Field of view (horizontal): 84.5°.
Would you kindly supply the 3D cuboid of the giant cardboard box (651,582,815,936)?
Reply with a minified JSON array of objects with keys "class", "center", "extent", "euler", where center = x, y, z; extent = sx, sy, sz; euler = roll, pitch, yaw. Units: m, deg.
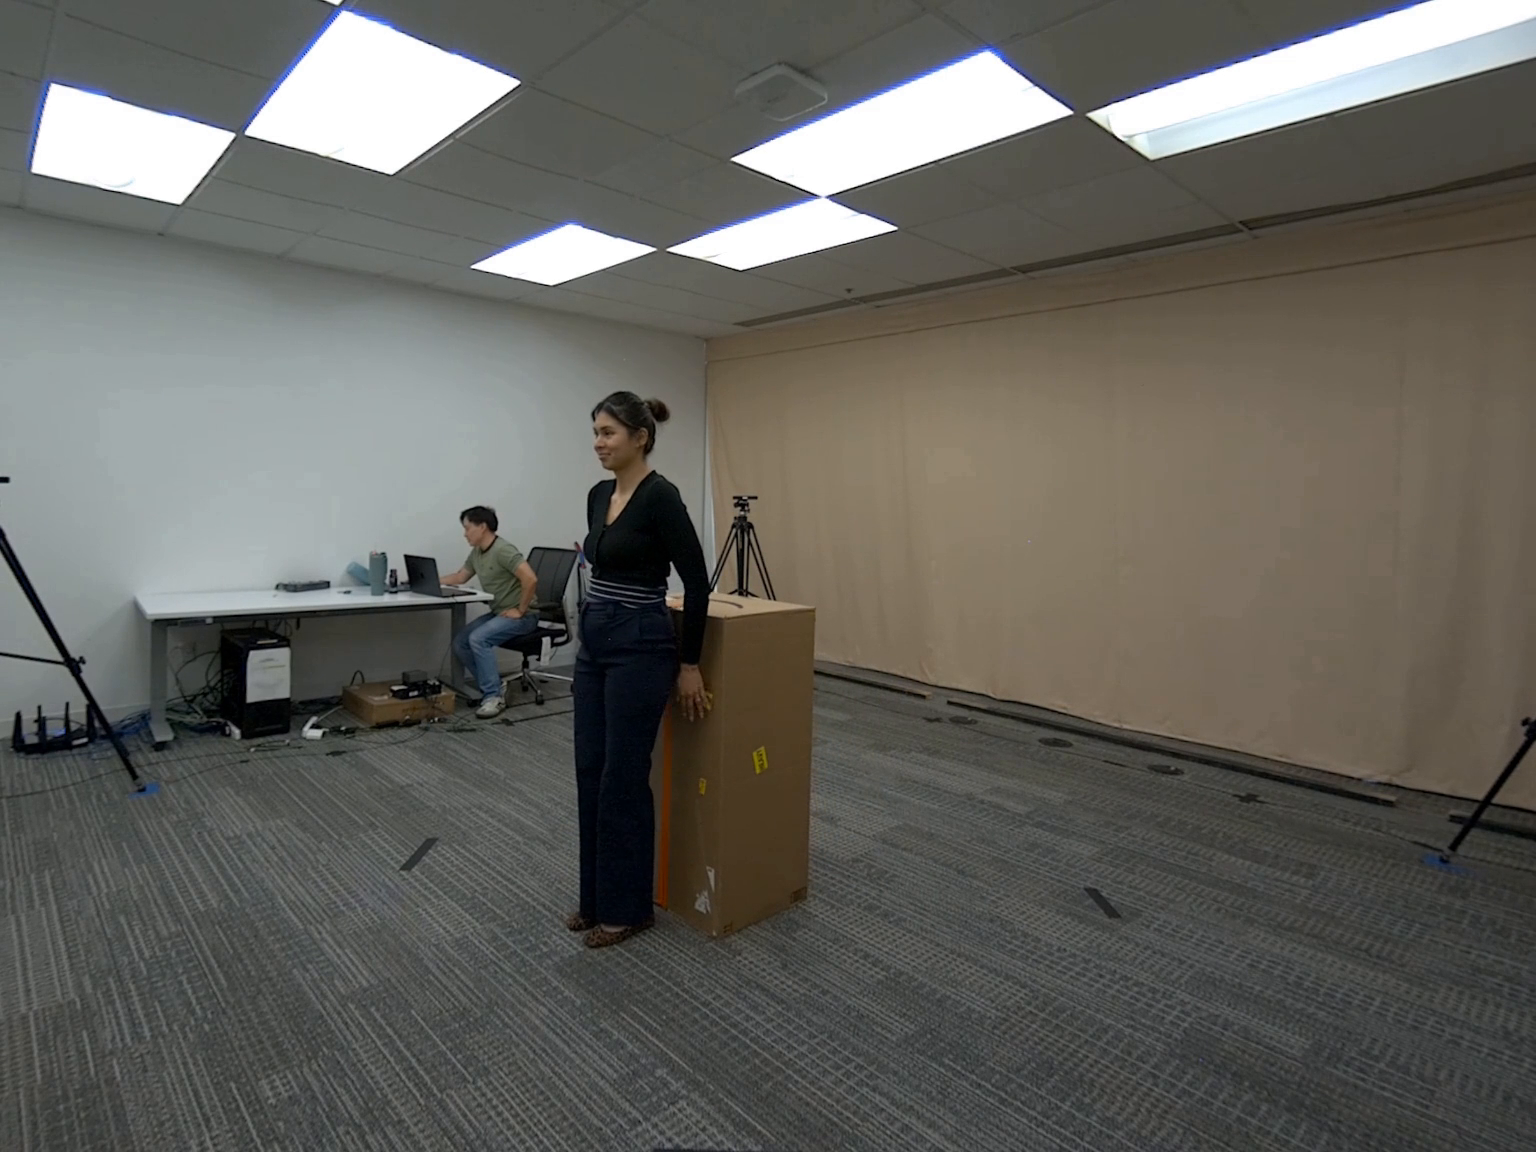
[{"class":"giant cardboard box","center":[-0.202,0.605,2.960],"extent":[0.416,1.023,0.592],"euler":[-2,5,-44]}]
